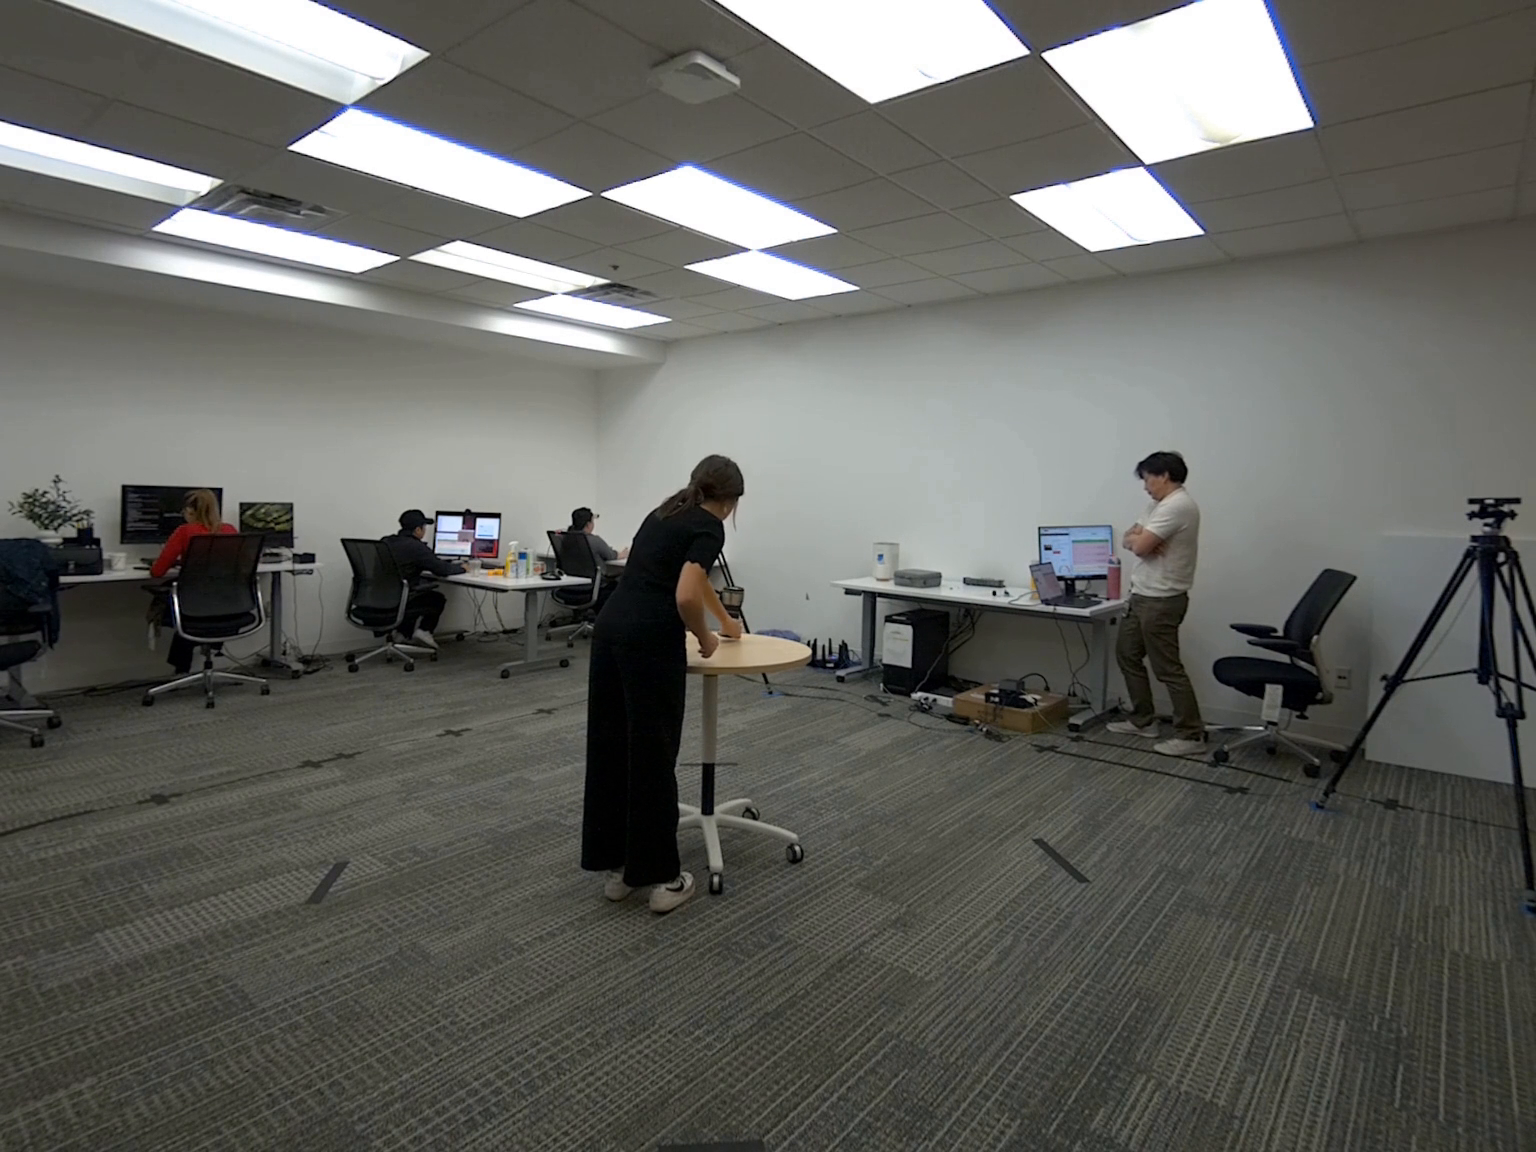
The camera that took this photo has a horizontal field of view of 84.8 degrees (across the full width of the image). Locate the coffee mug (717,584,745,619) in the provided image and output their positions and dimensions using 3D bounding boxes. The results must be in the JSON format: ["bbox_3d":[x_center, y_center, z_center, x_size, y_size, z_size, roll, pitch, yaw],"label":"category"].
[{"bbox_3d":[-0.164,0.143,3.449,0.088,0.203,0.121,4,0,5],"label":"coffee mug"}]
